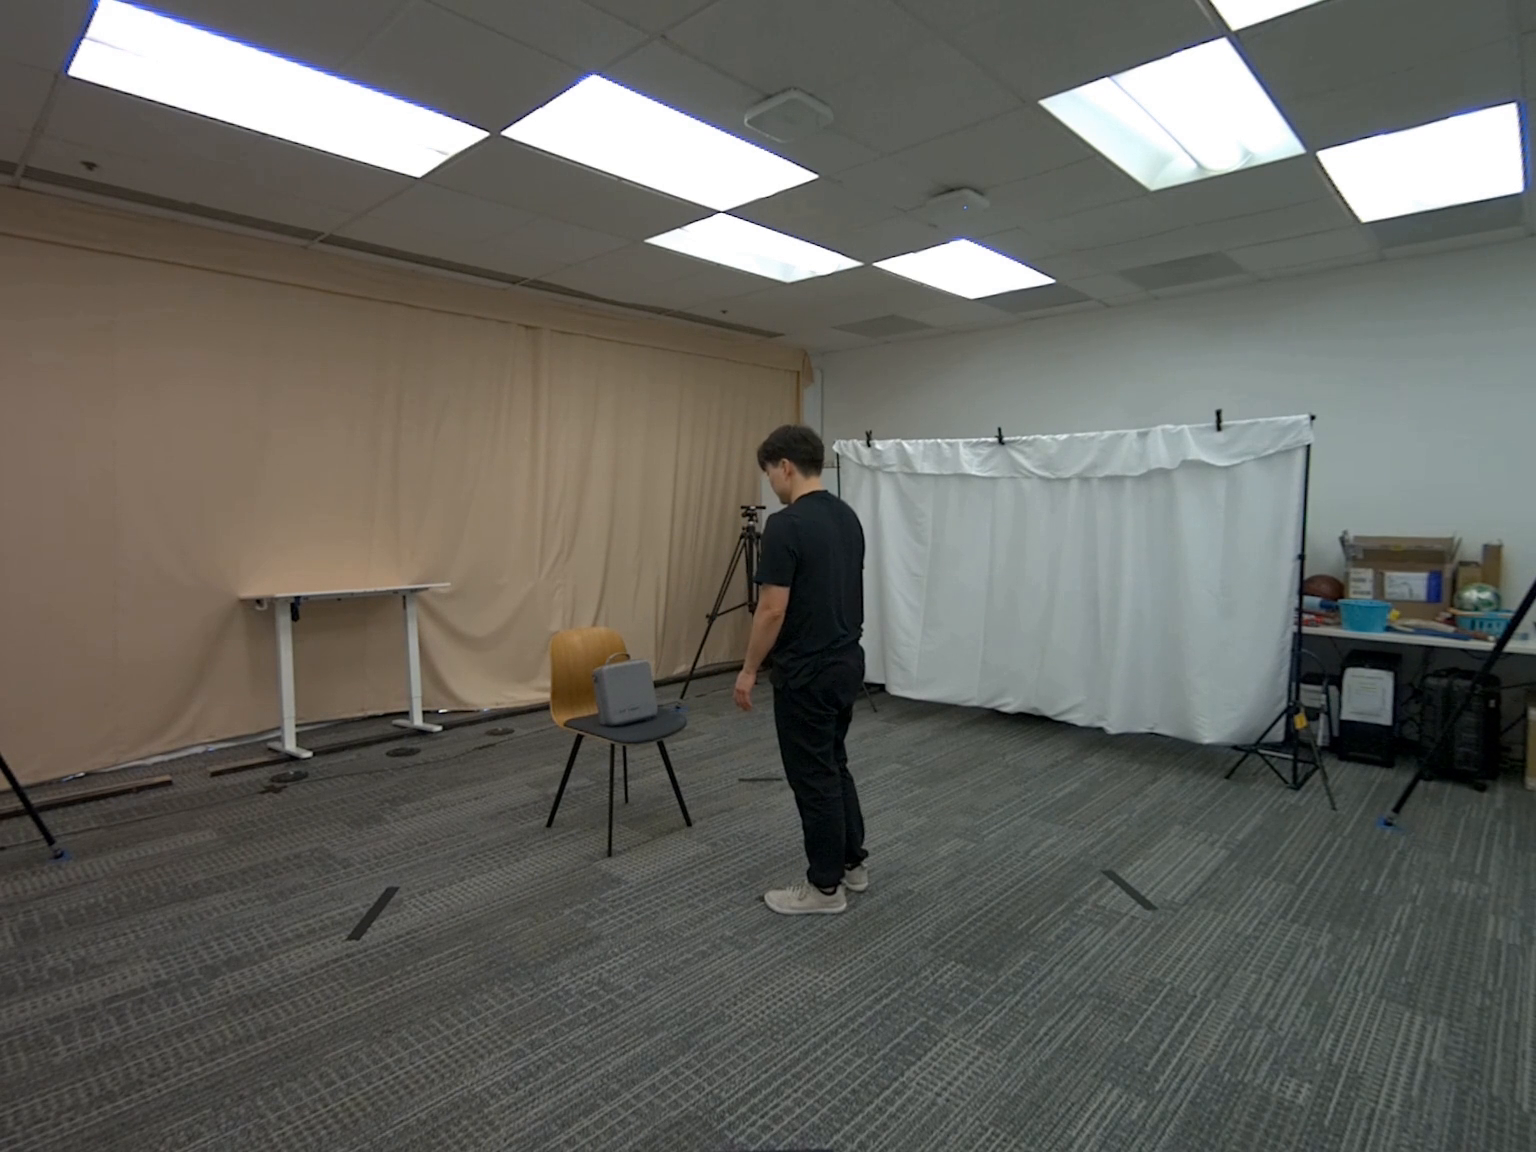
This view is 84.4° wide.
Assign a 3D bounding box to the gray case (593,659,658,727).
[{"bbox_3d":[-0.613,0.496,3.591,0.249,0.262,0.107,-4,-9,-40],"label":"gray case"}]
